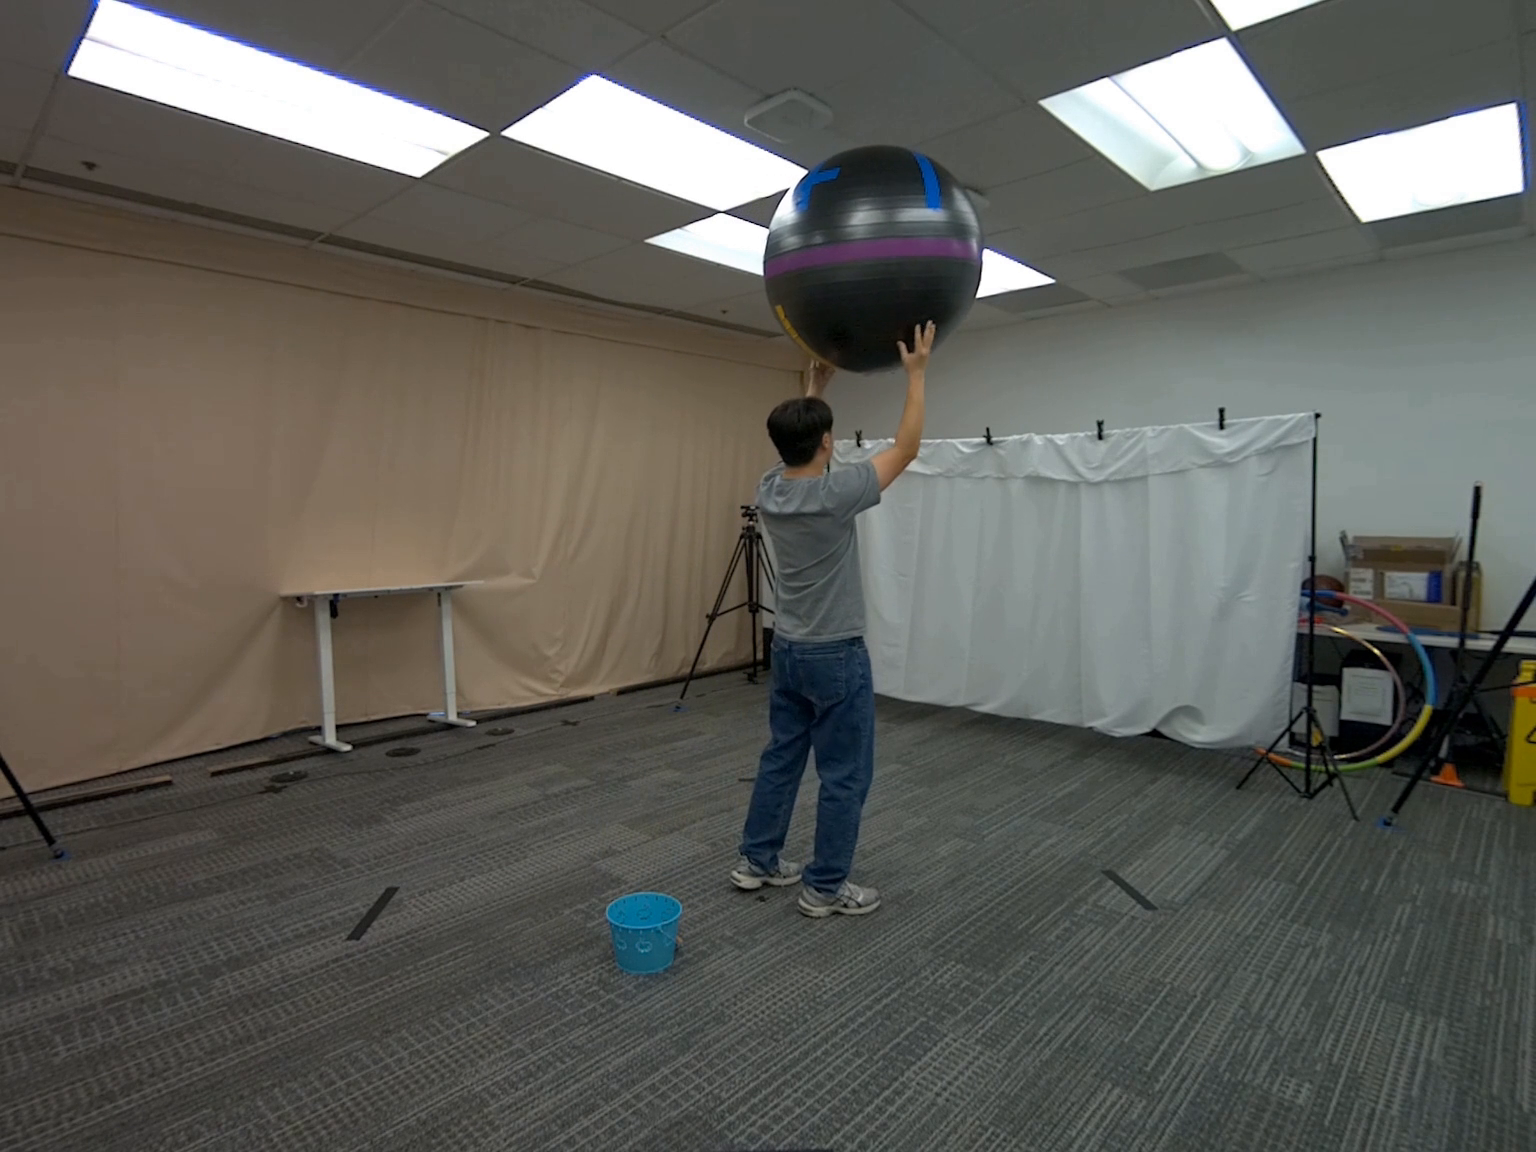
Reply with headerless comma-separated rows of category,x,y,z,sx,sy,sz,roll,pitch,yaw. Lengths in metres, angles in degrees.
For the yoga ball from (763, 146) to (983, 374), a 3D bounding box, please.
yoga ball,0.364,-1.089,2.960,0.757,0.756,0.761,0,4,-2
